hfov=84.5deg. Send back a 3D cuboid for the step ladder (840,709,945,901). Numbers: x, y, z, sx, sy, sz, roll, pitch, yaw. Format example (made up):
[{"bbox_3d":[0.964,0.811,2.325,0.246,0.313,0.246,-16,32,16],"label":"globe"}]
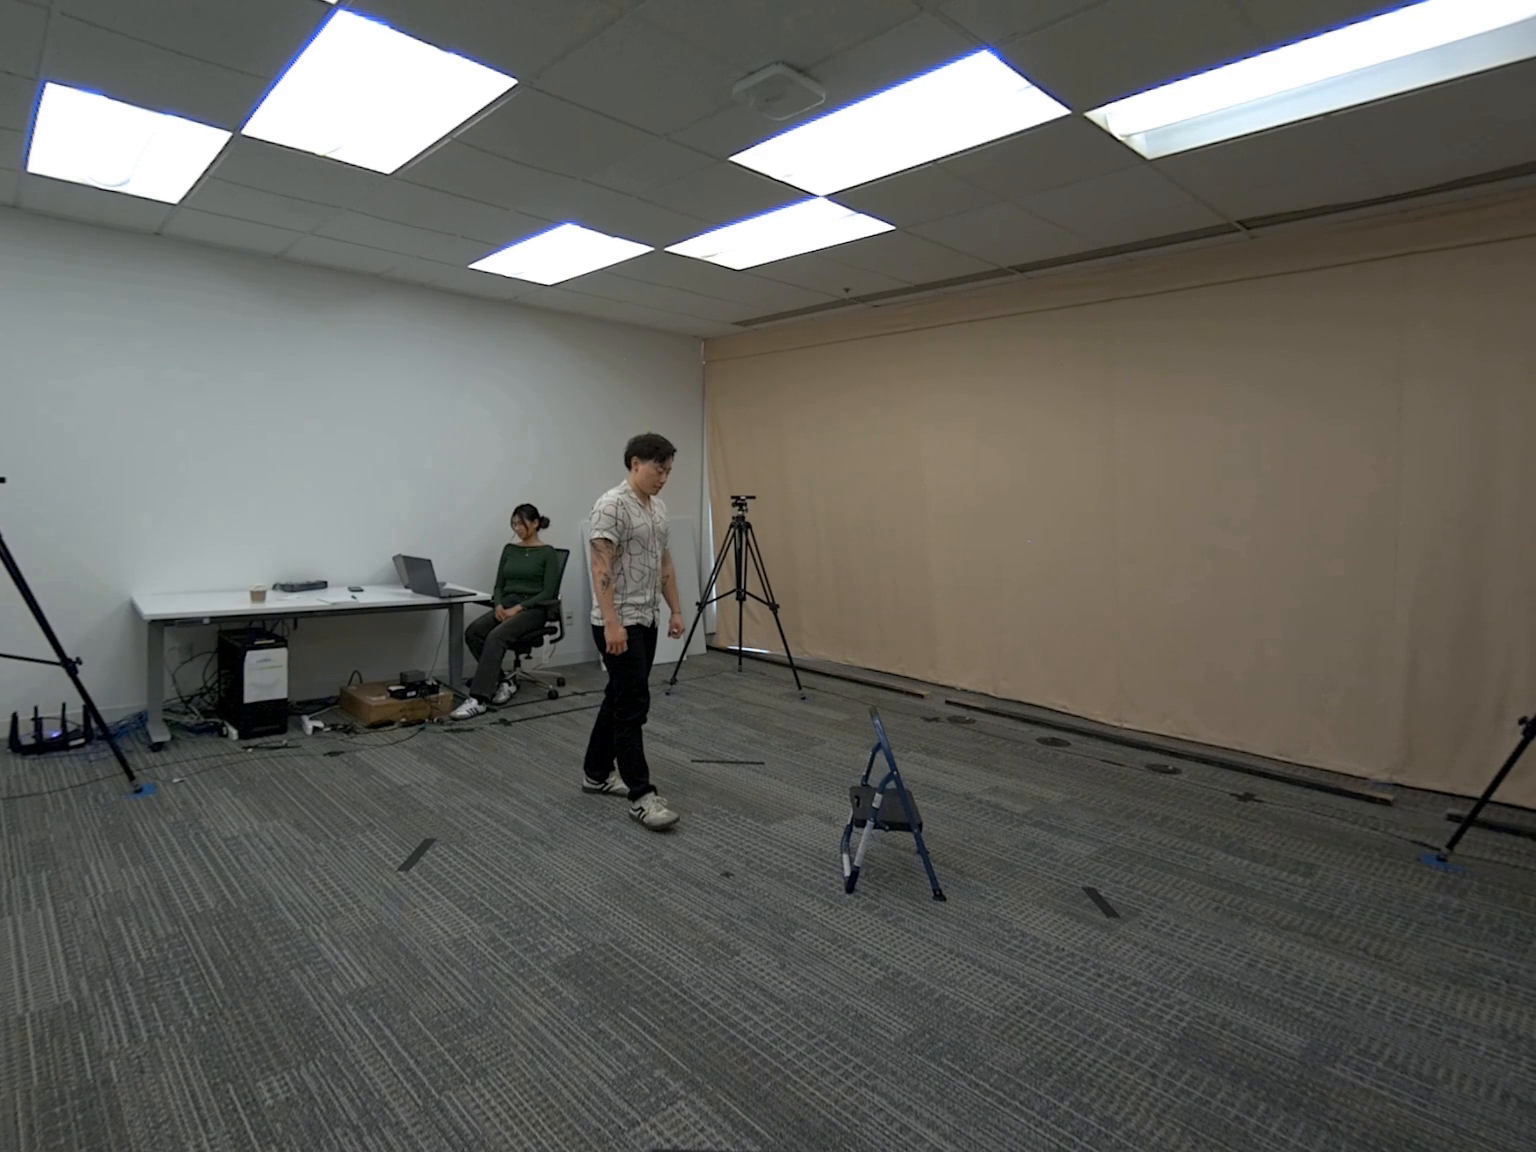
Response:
[{"bbox_3d":[0.456,0.815,3.145,0.350,0.604,0.431,2,4,2],"label":"step ladder"}]
